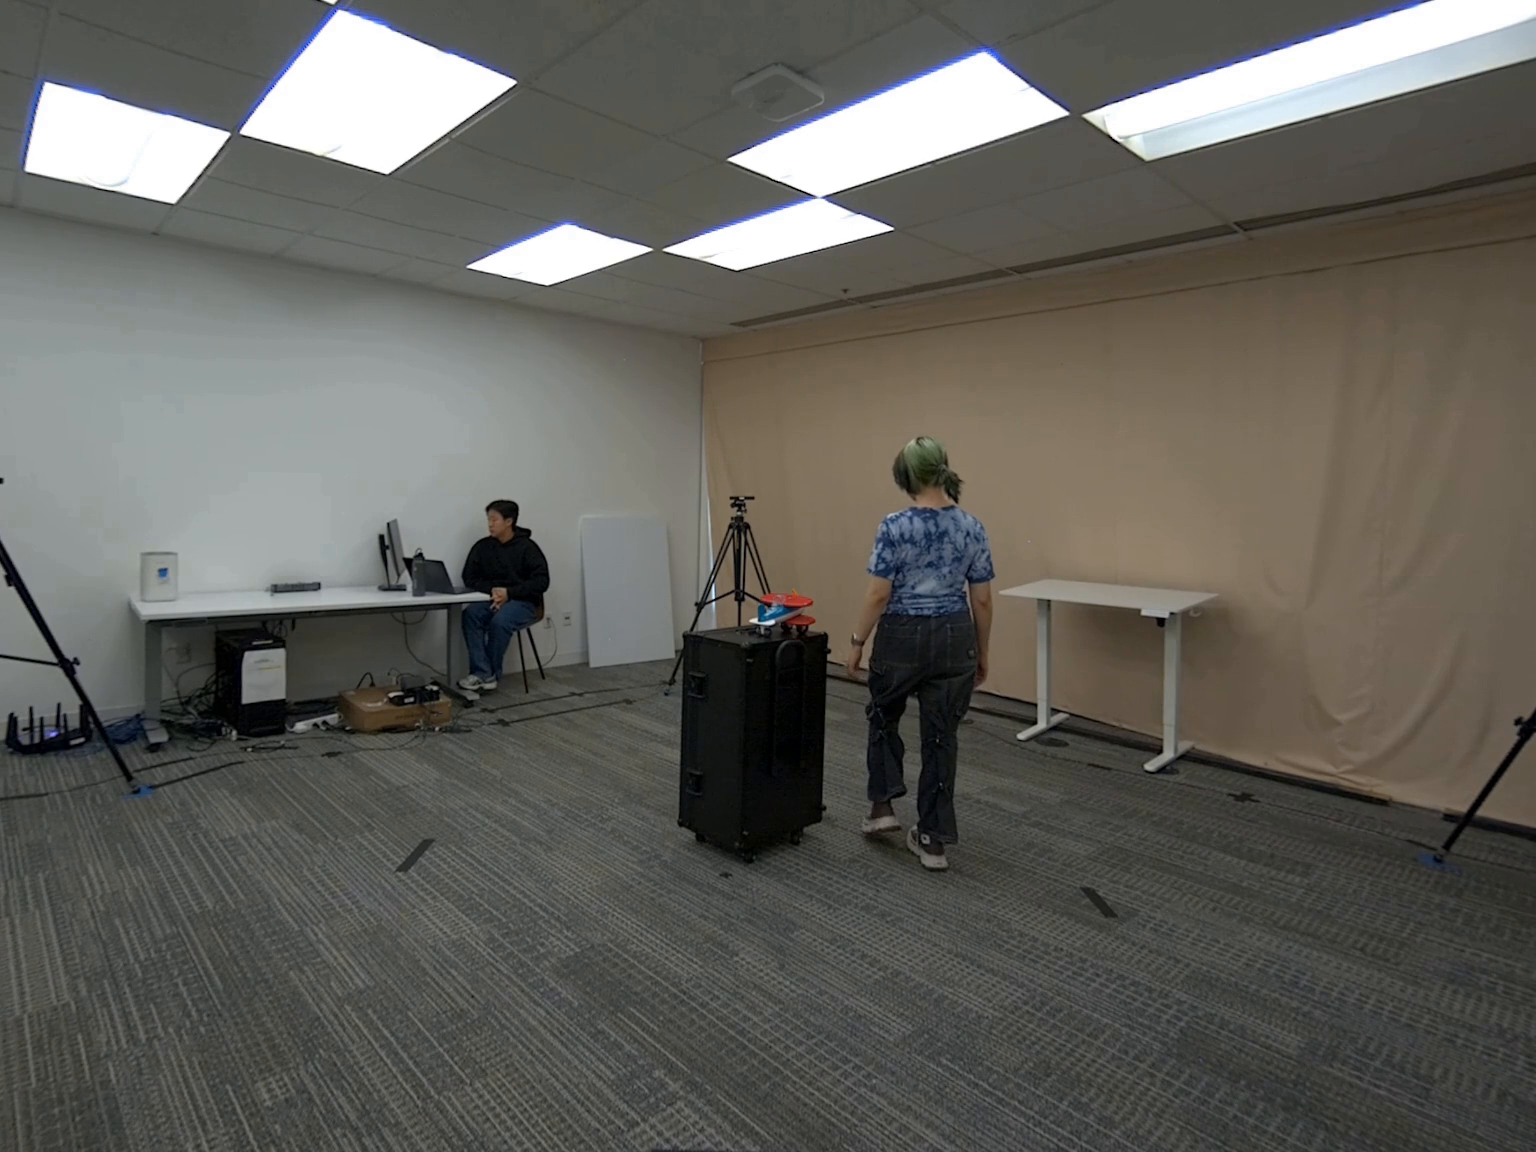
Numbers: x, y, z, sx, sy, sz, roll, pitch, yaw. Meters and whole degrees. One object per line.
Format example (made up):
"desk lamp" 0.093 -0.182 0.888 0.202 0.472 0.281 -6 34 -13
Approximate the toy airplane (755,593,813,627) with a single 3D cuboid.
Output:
"toy airplane" 0.067 0.156 3.373 0.254 0.156 0.256 3 4 16
